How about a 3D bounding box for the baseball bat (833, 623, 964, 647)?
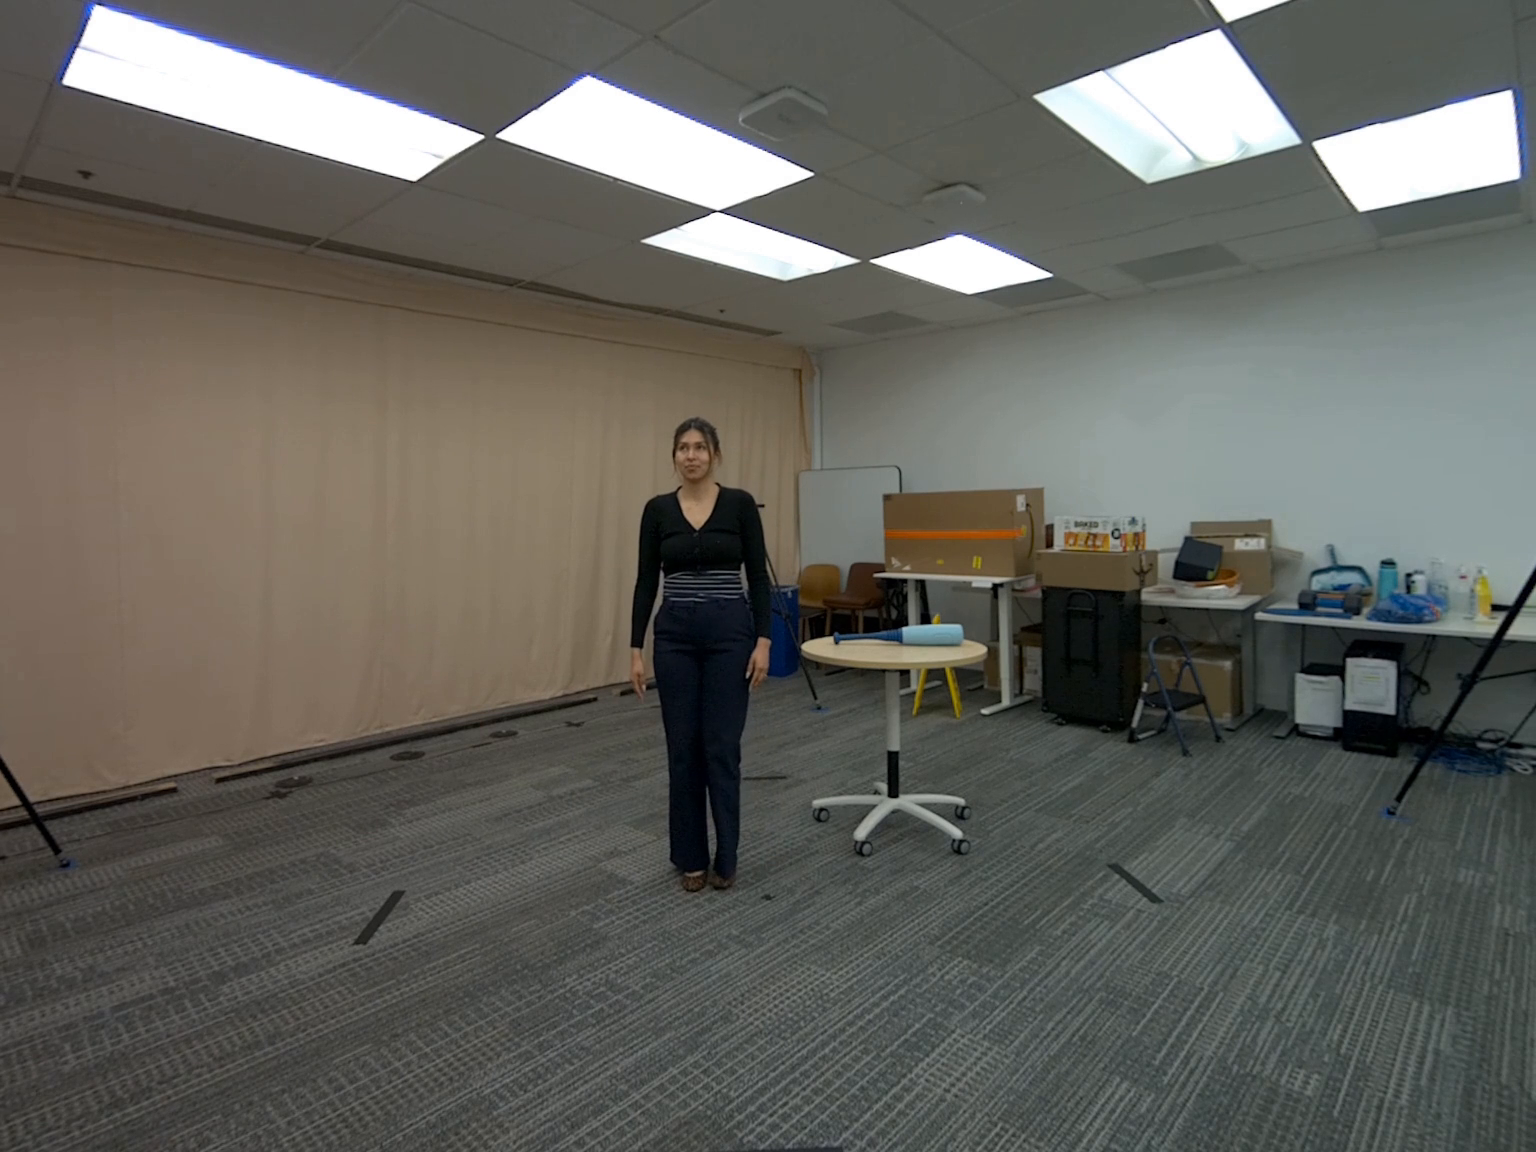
[{"bbox_3d":[0.558,0.258,3.596,0.549,0.089,0.088,-2,4,10],"label":"baseball bat"}]
